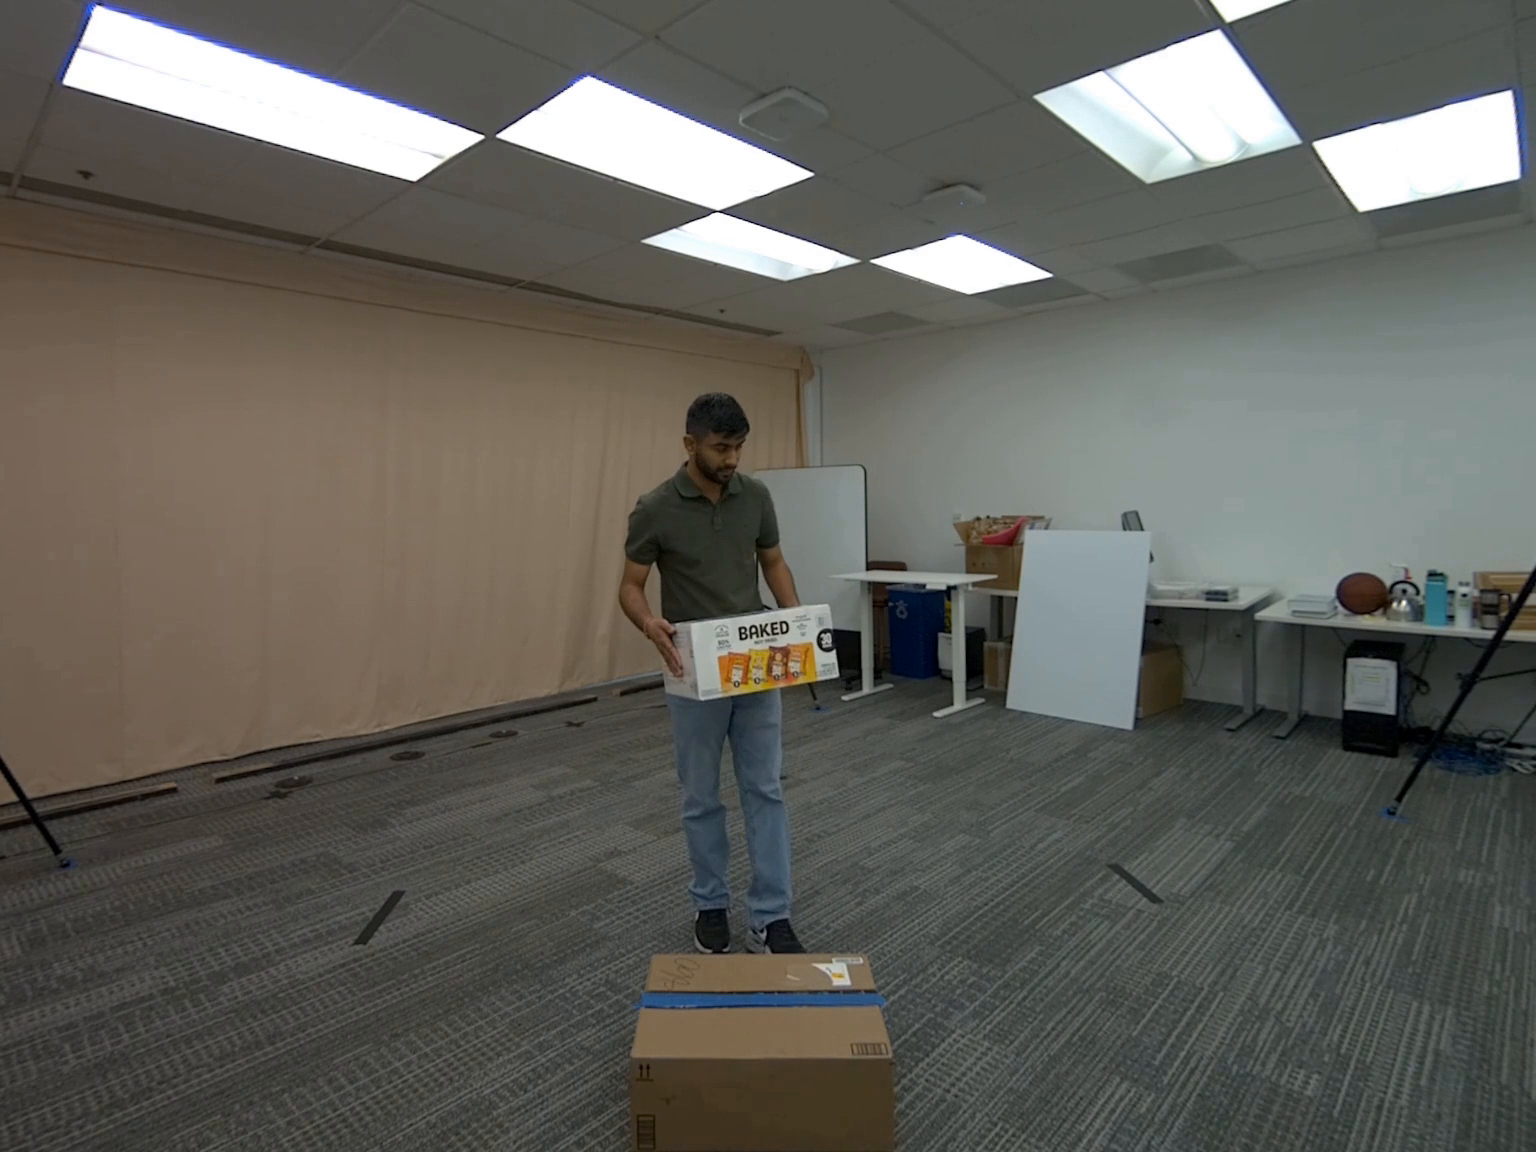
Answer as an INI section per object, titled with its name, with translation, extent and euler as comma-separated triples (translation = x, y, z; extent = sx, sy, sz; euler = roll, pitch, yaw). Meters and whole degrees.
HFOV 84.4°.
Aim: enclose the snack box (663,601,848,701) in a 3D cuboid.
[snack box]
translation = -0.055, 0.209, 2.384
extent = 0.397, 0.206, 0.346
euler = -8, -2, -22
